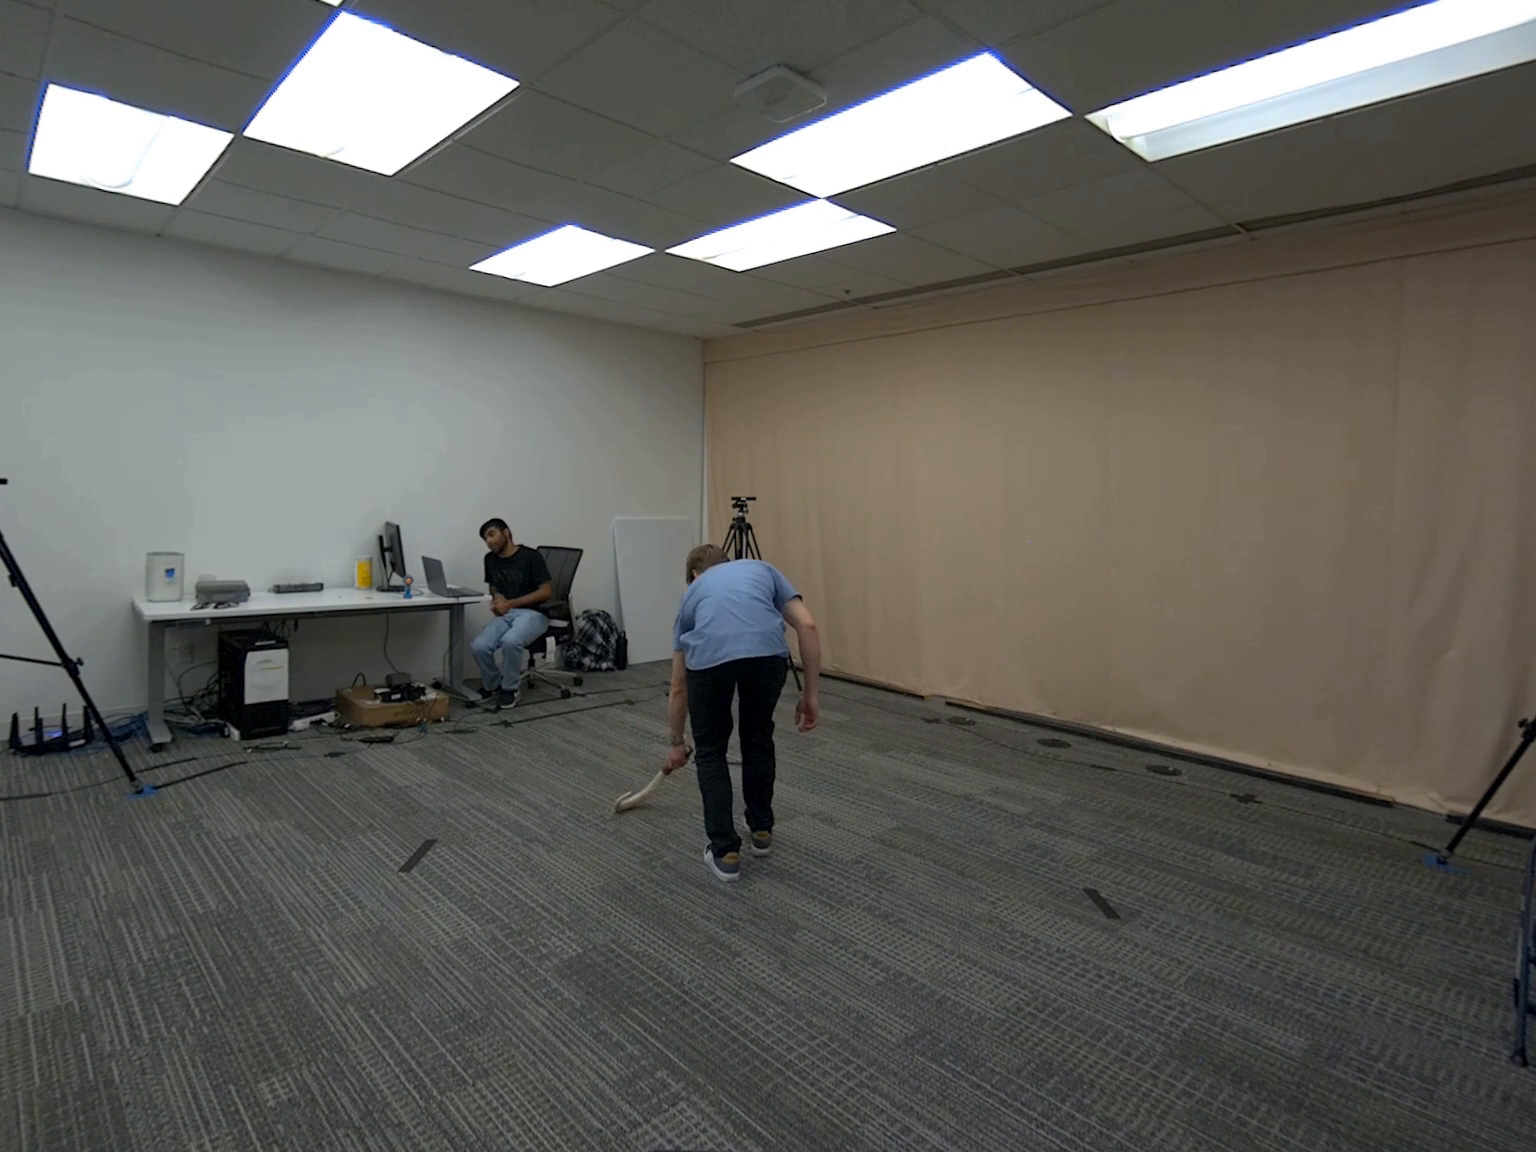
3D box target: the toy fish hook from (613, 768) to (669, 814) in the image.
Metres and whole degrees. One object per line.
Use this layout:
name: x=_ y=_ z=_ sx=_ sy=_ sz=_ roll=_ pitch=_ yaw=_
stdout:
toy fish hook: x=-0.504 y=0.881 z=3.612 sx=0.506 sy=0.049 sz=0.220 roll=-46 pitch=-19 yaw=31
